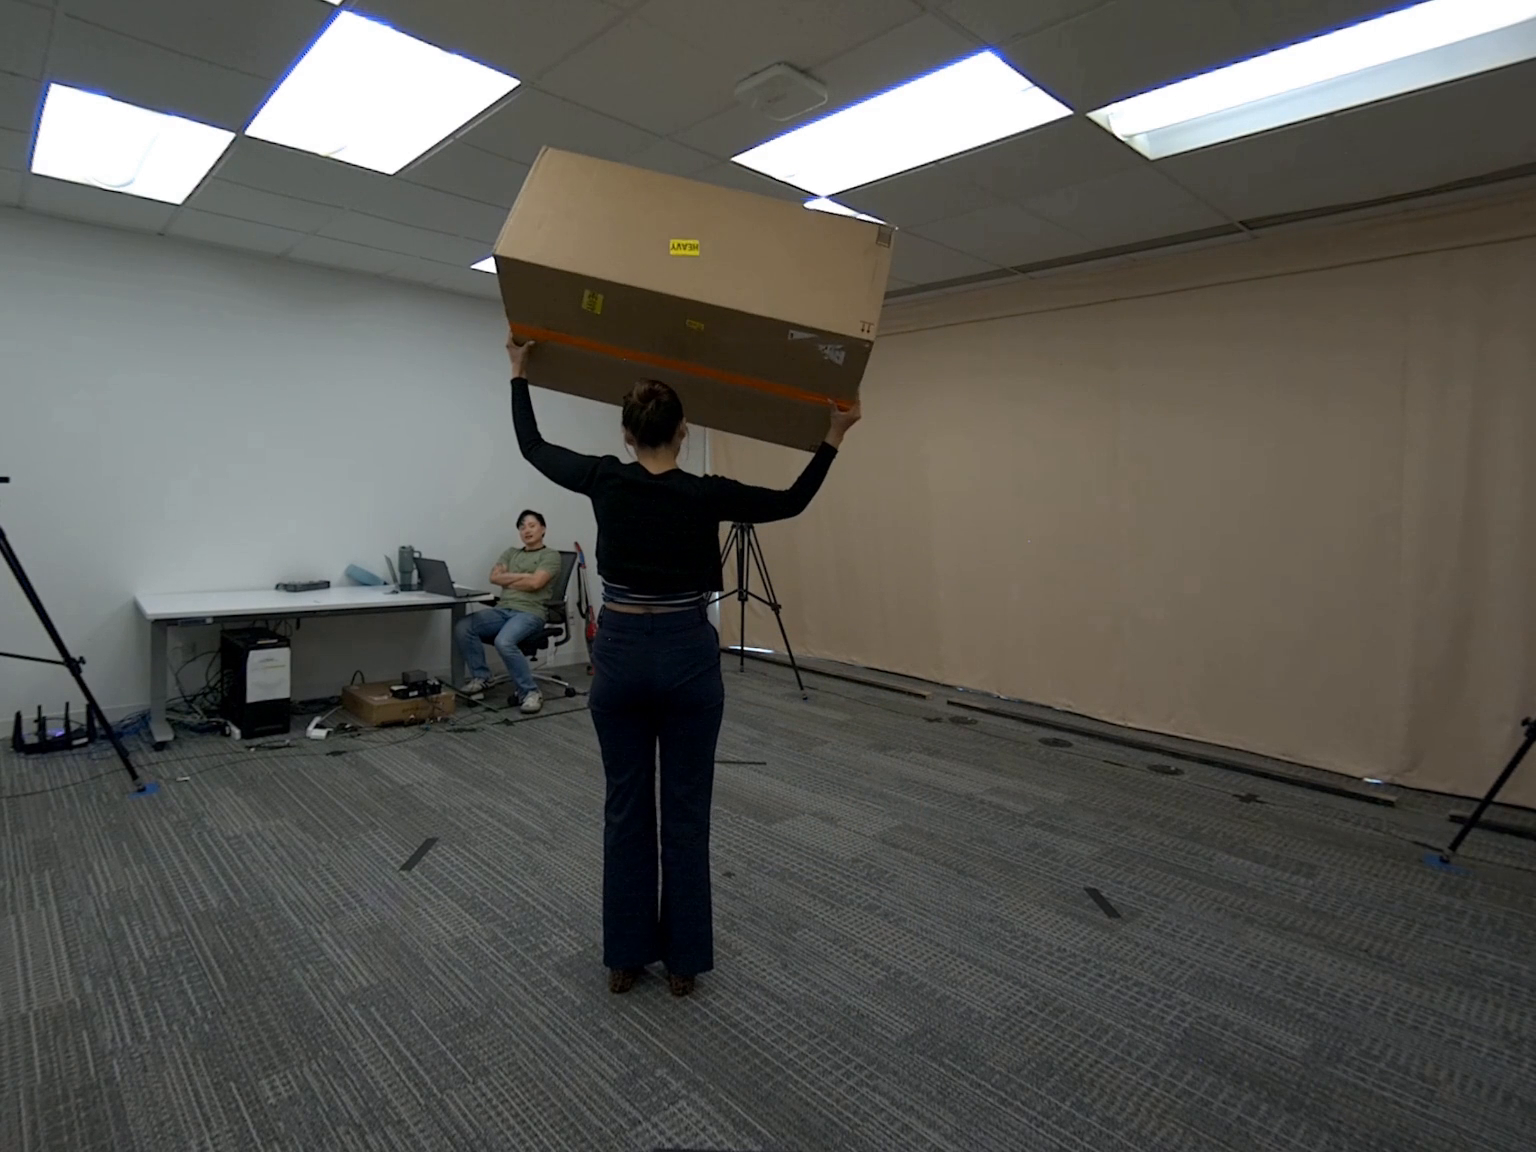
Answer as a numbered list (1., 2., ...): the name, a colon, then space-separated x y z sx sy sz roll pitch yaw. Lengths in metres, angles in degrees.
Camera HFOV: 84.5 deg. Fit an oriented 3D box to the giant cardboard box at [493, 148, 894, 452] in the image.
1. giant cardboard box: -0.215 -0.782 2.505 1.028 0.431 0.570 14 -23 2
